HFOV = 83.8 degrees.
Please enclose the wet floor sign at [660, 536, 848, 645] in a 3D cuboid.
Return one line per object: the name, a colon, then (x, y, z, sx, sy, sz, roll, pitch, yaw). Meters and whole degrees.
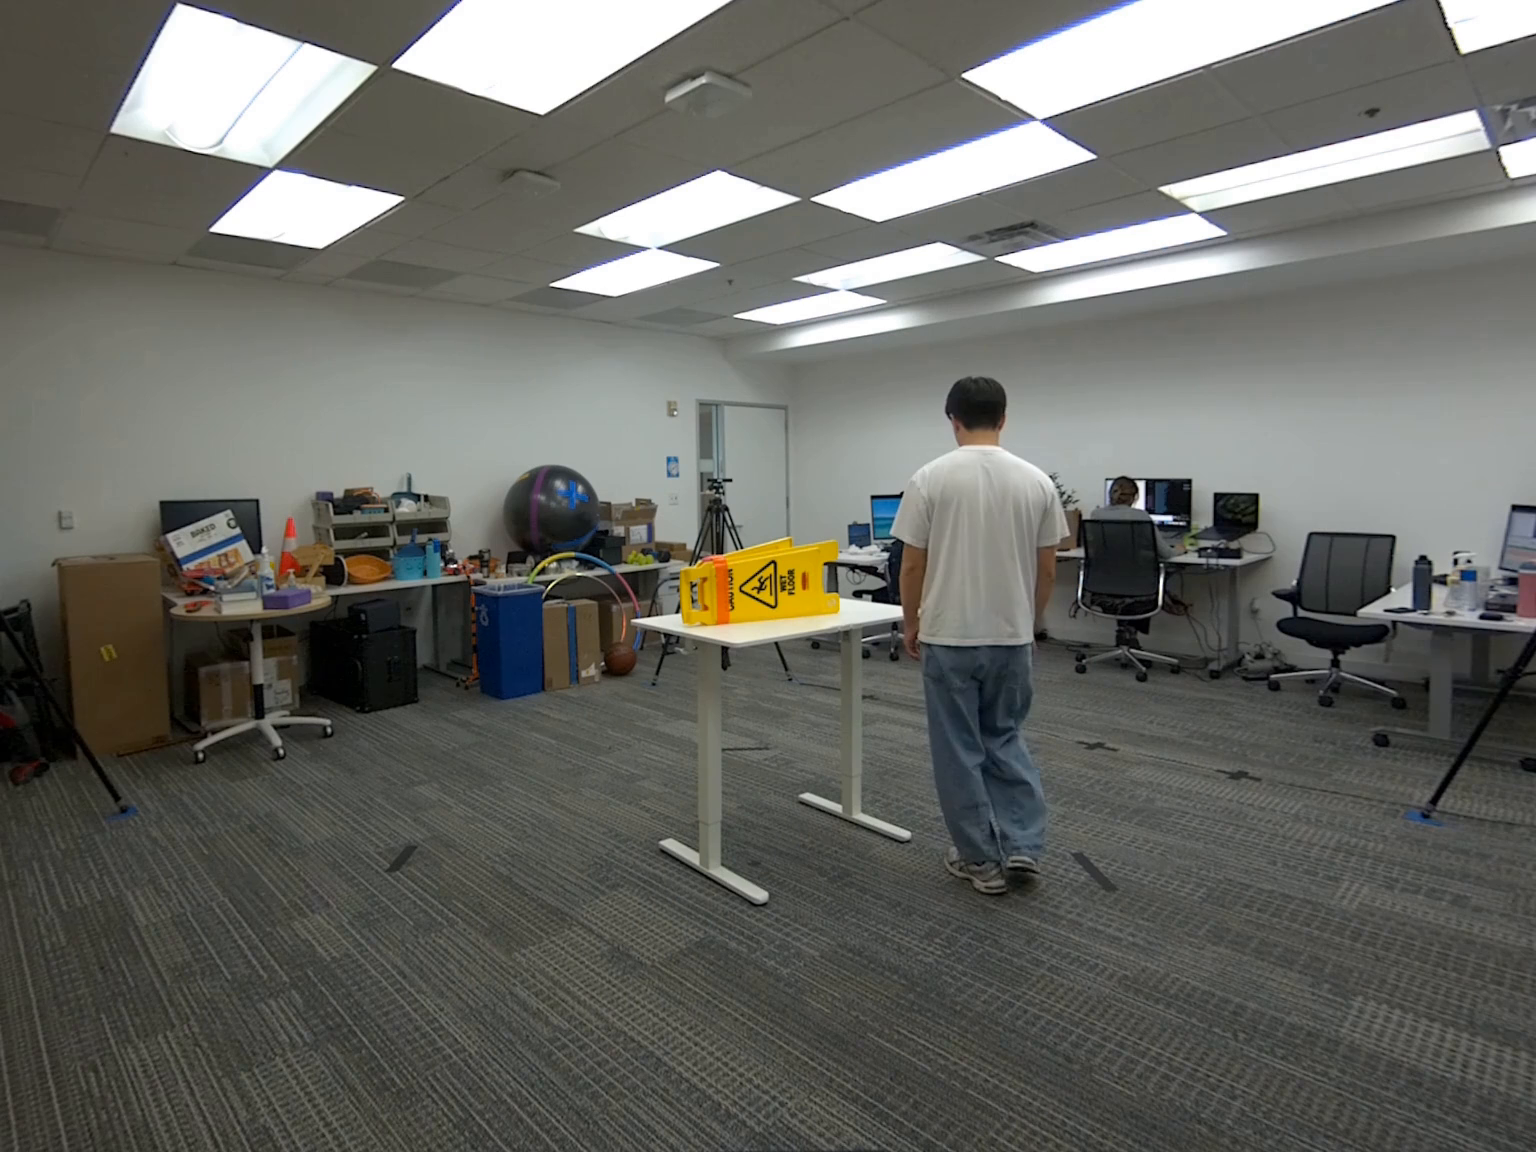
wet floor sign: (-0.042, 0.032, 3.139, 0.630, 0.280, 0.299, -9, 10, -40)
